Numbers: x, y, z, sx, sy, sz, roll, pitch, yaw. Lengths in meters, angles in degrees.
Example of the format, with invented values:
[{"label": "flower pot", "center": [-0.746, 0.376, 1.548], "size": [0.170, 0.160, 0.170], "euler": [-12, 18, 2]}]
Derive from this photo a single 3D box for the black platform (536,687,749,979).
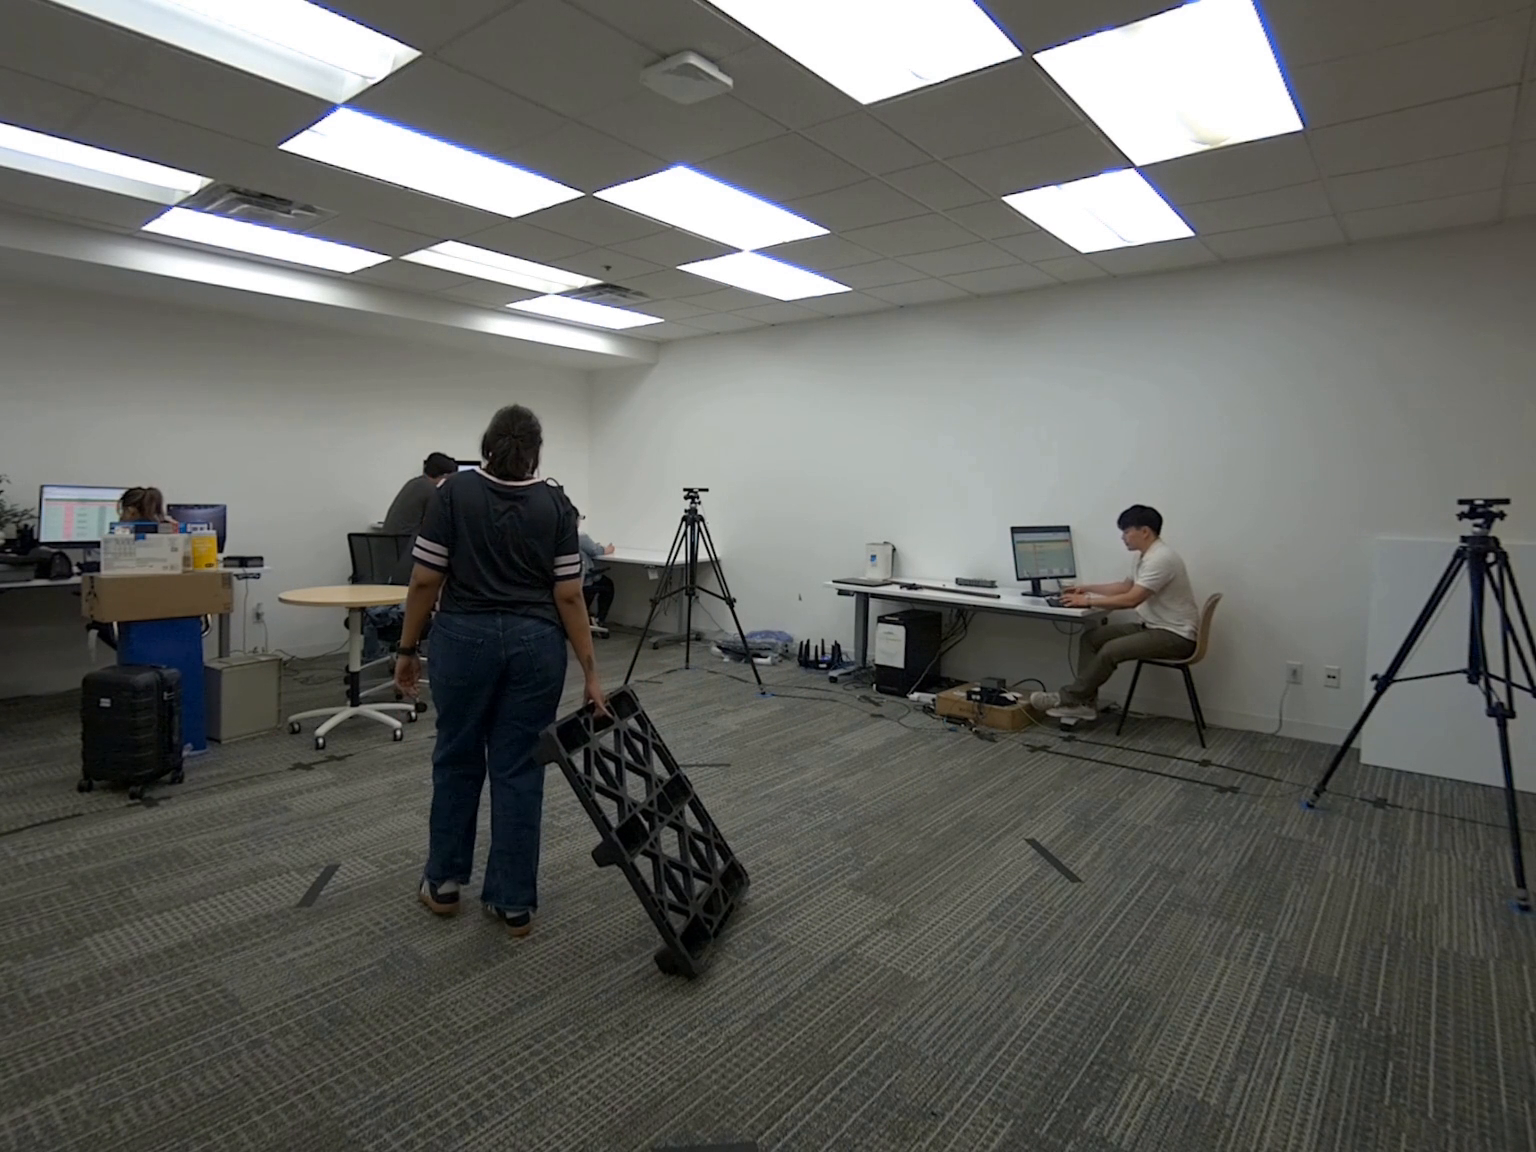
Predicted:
[{"label": "black platform", "center": [-0.404, 0.774, 2.679], "size": [0.144, 0.813, 0.597], "euler": [-35, -6, 15]}]
